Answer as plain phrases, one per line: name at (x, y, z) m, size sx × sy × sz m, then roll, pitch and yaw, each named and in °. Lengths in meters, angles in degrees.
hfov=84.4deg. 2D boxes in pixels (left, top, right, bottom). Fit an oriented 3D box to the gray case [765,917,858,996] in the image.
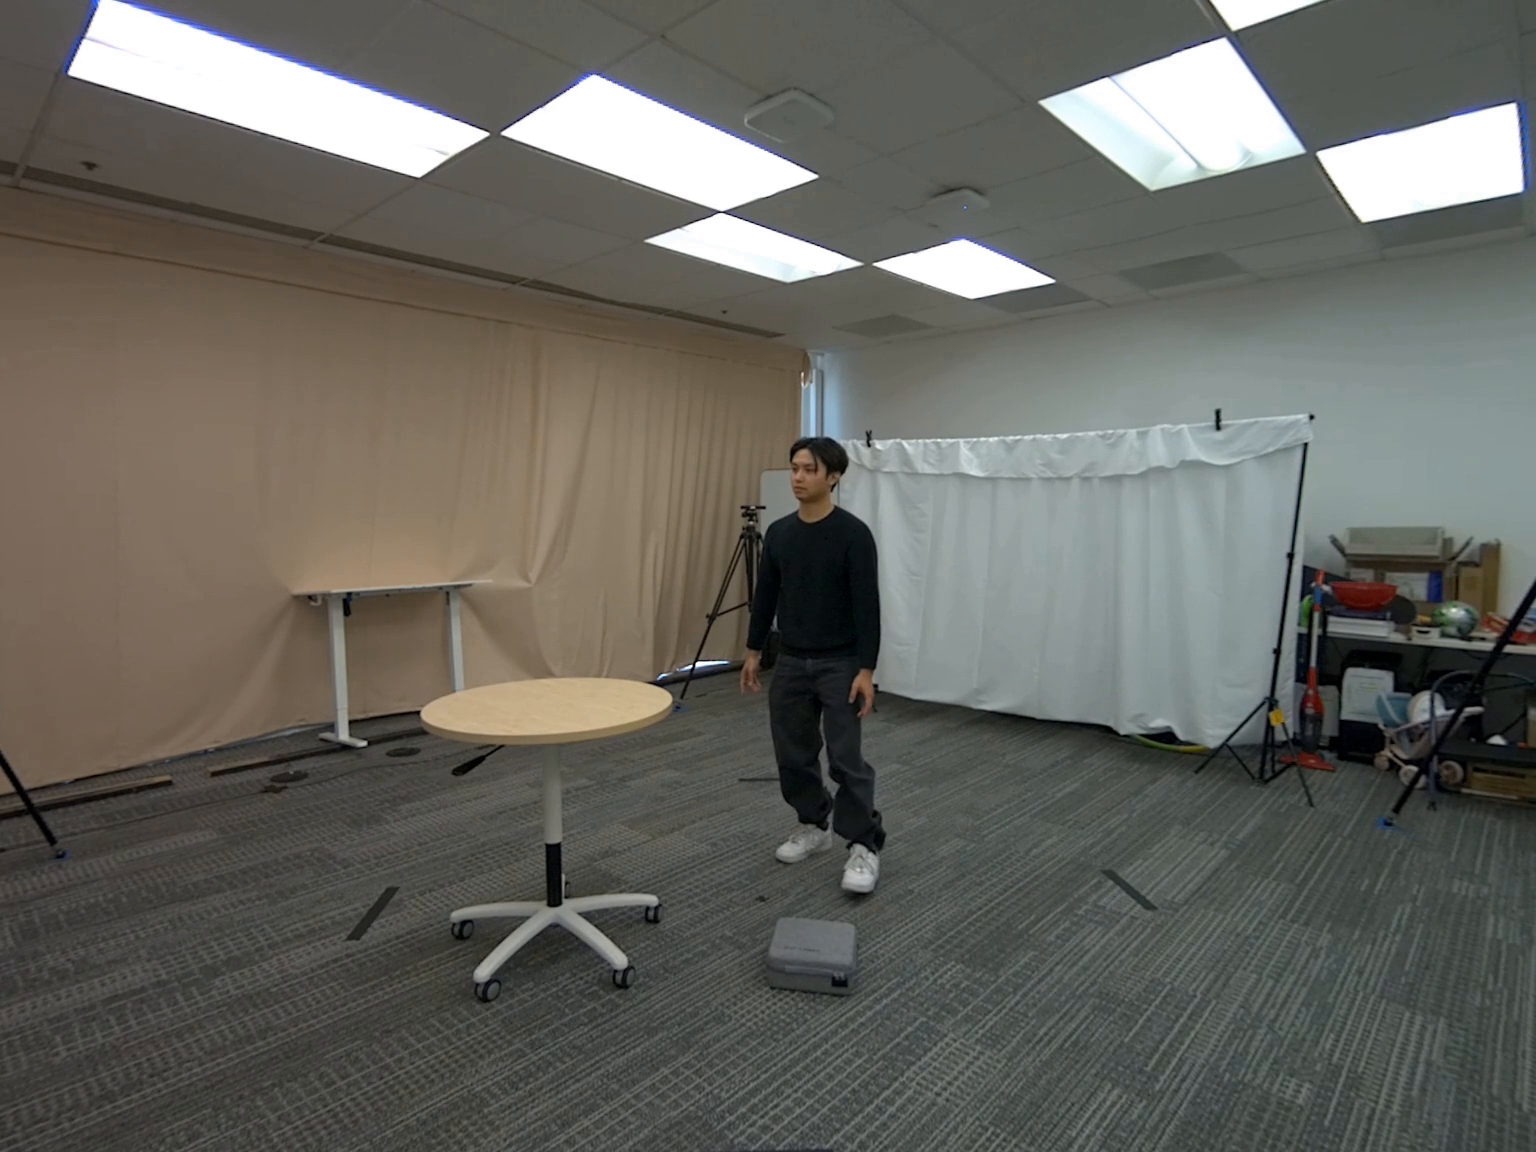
gray case at (0.131, 1.120, 2.520) m, size 0.260 × 0.104 × 0.258 m, roll 0°, pitch 4°, yaw 10°
